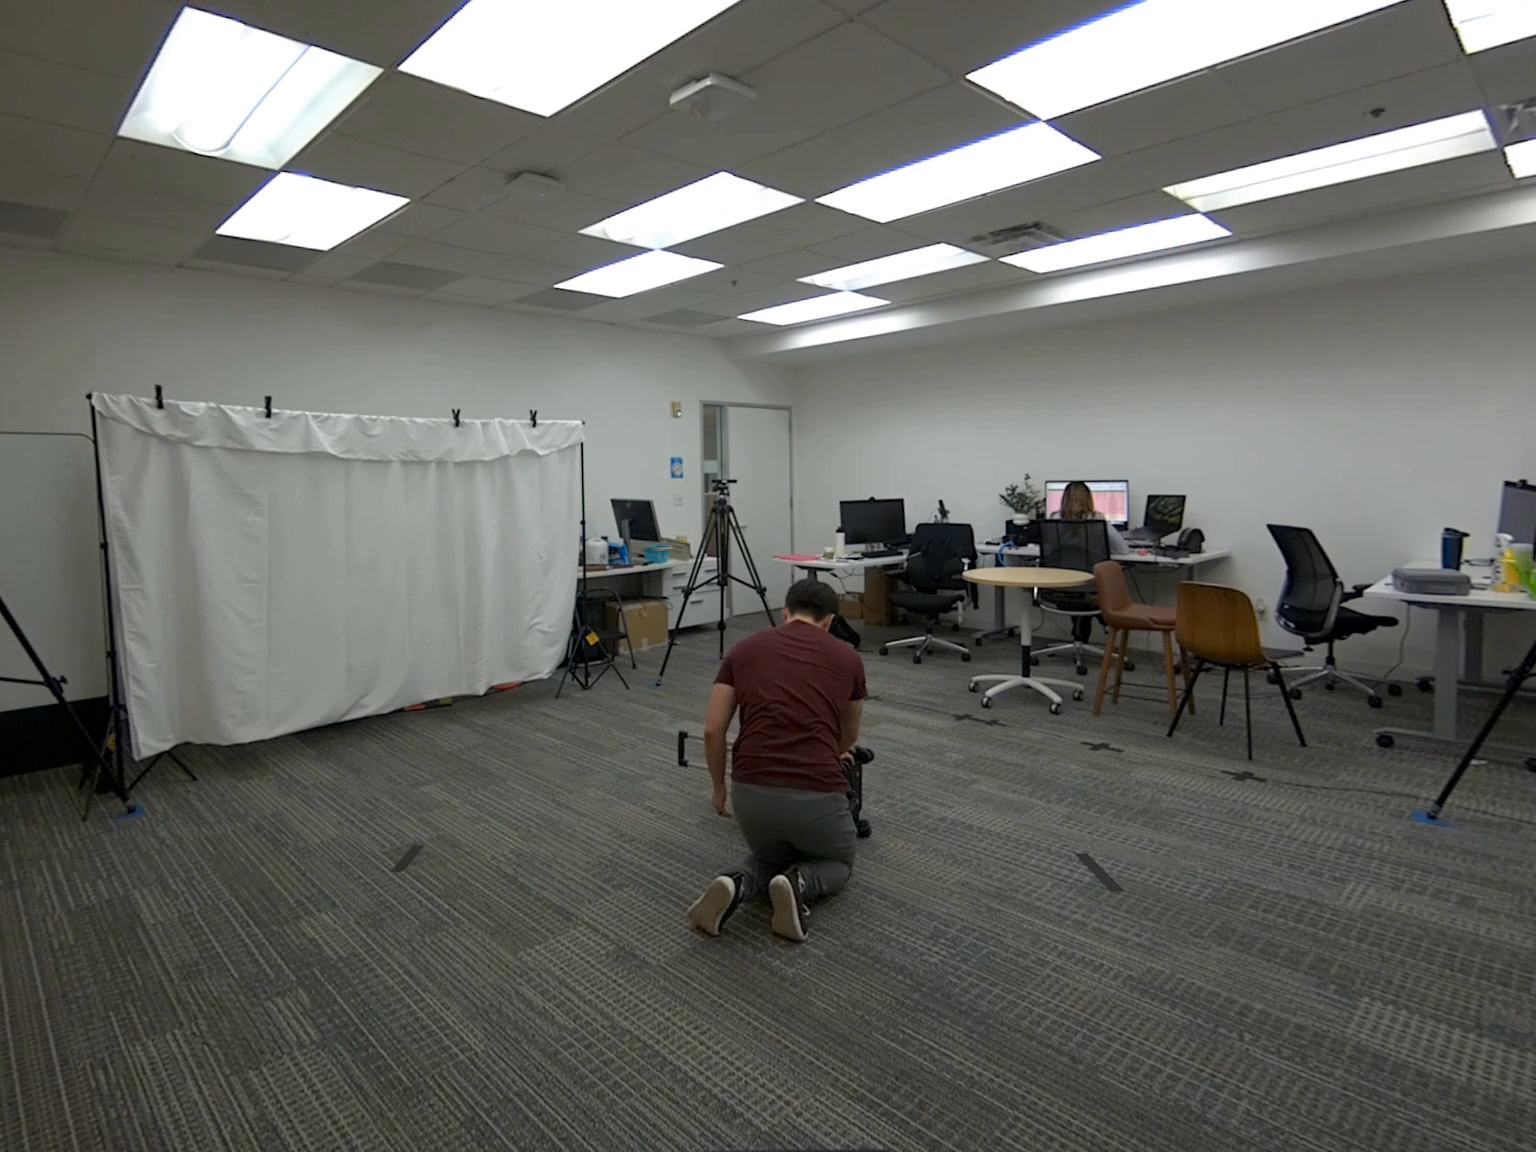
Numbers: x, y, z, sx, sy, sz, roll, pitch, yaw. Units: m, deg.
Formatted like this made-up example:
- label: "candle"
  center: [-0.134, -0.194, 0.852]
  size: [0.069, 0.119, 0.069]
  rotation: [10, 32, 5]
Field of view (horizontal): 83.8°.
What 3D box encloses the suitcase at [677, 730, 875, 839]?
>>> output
- label: "suitcase"
  center: [-0.048, 0.814, 3.541]
  size: [1.007, 0.383, 0.250]
  rotation: [4, 4, 36]
